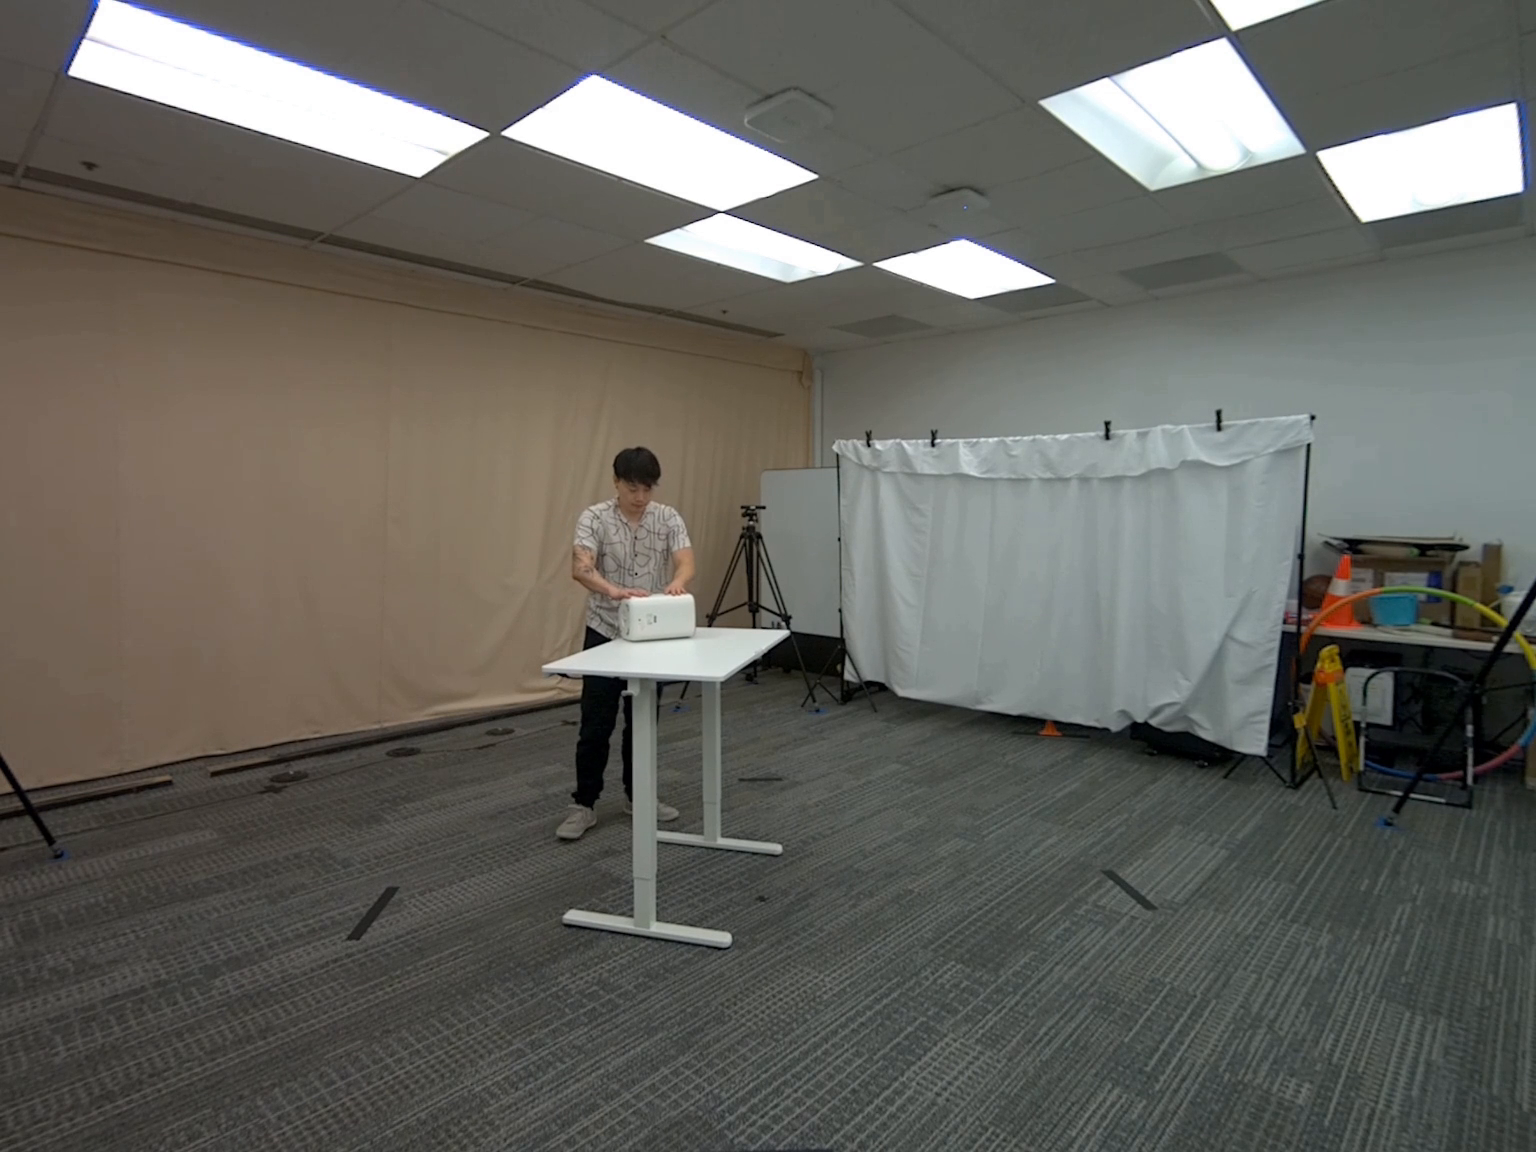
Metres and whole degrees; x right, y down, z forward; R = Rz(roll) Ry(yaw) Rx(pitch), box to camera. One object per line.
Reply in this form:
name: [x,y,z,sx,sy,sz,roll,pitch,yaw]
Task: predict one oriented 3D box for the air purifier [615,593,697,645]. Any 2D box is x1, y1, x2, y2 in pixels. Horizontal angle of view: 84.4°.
air purifier: [-0.435,0.155,3.260,0.259,0.171,0.176,-3,3,-27]
